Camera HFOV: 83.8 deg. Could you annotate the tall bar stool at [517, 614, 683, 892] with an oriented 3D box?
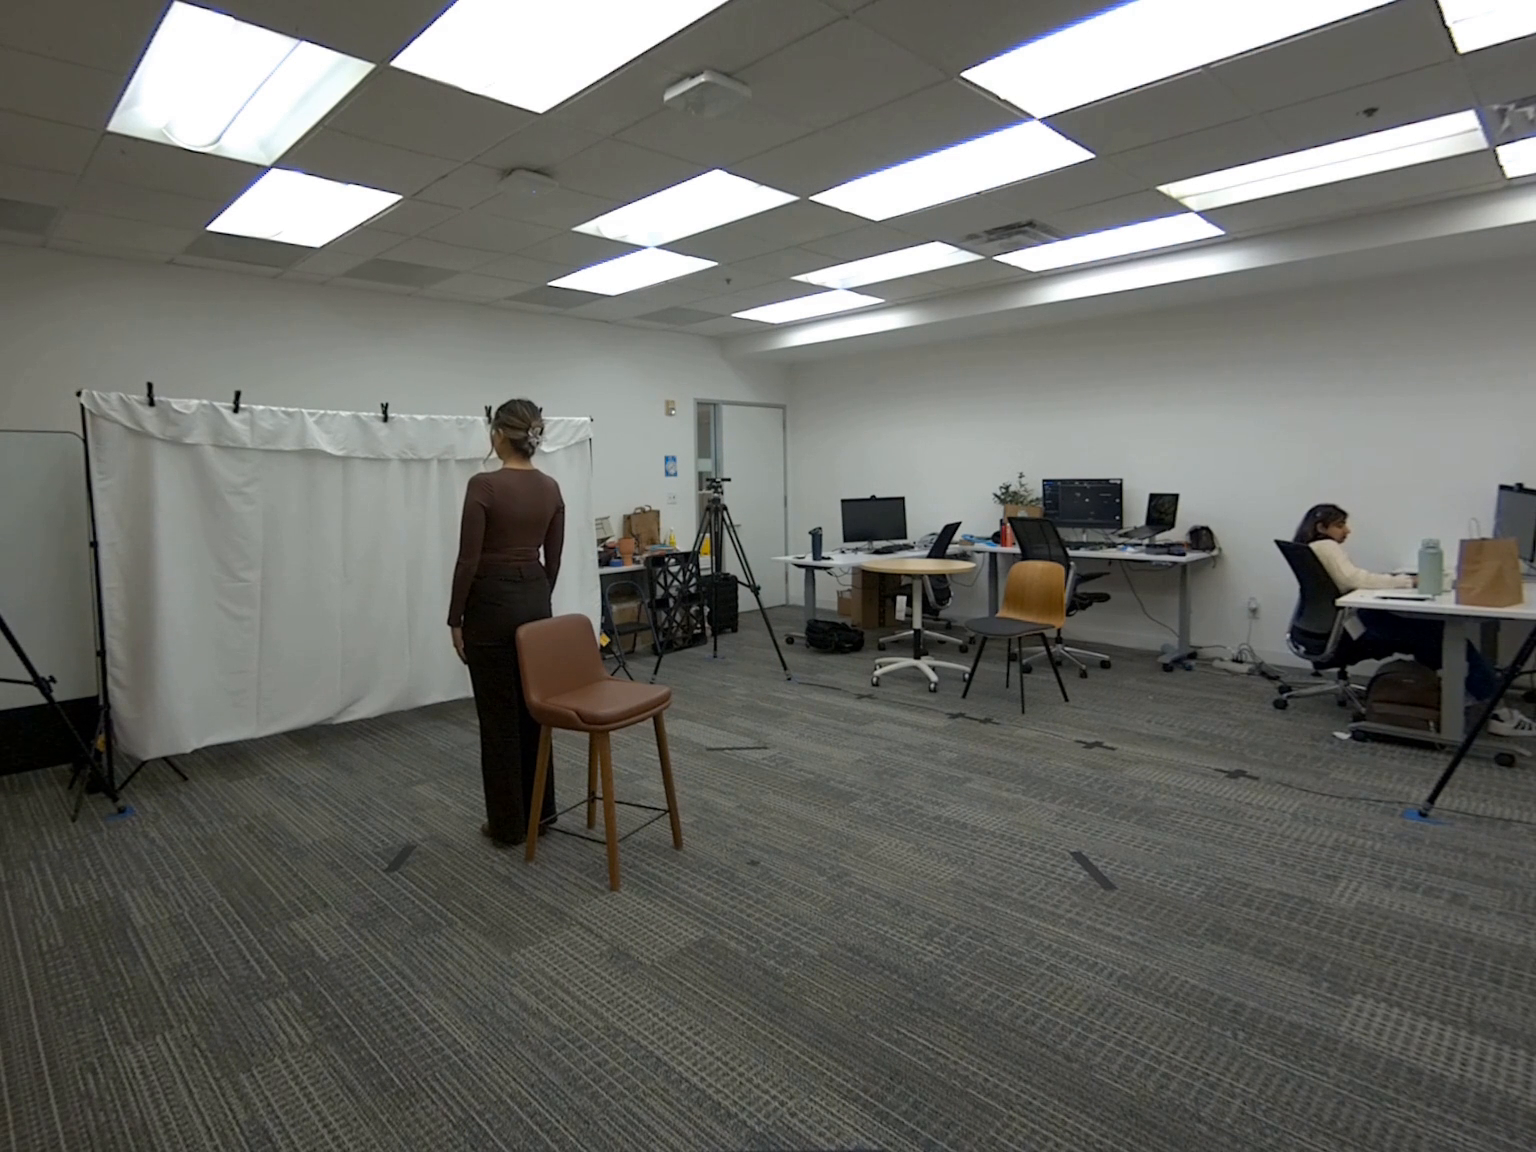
[{"bbox_3d":[-0.629,0.609,3.171,0.480,0.888,0.446,-1,3,32],"label":"tall bar stool"}]
